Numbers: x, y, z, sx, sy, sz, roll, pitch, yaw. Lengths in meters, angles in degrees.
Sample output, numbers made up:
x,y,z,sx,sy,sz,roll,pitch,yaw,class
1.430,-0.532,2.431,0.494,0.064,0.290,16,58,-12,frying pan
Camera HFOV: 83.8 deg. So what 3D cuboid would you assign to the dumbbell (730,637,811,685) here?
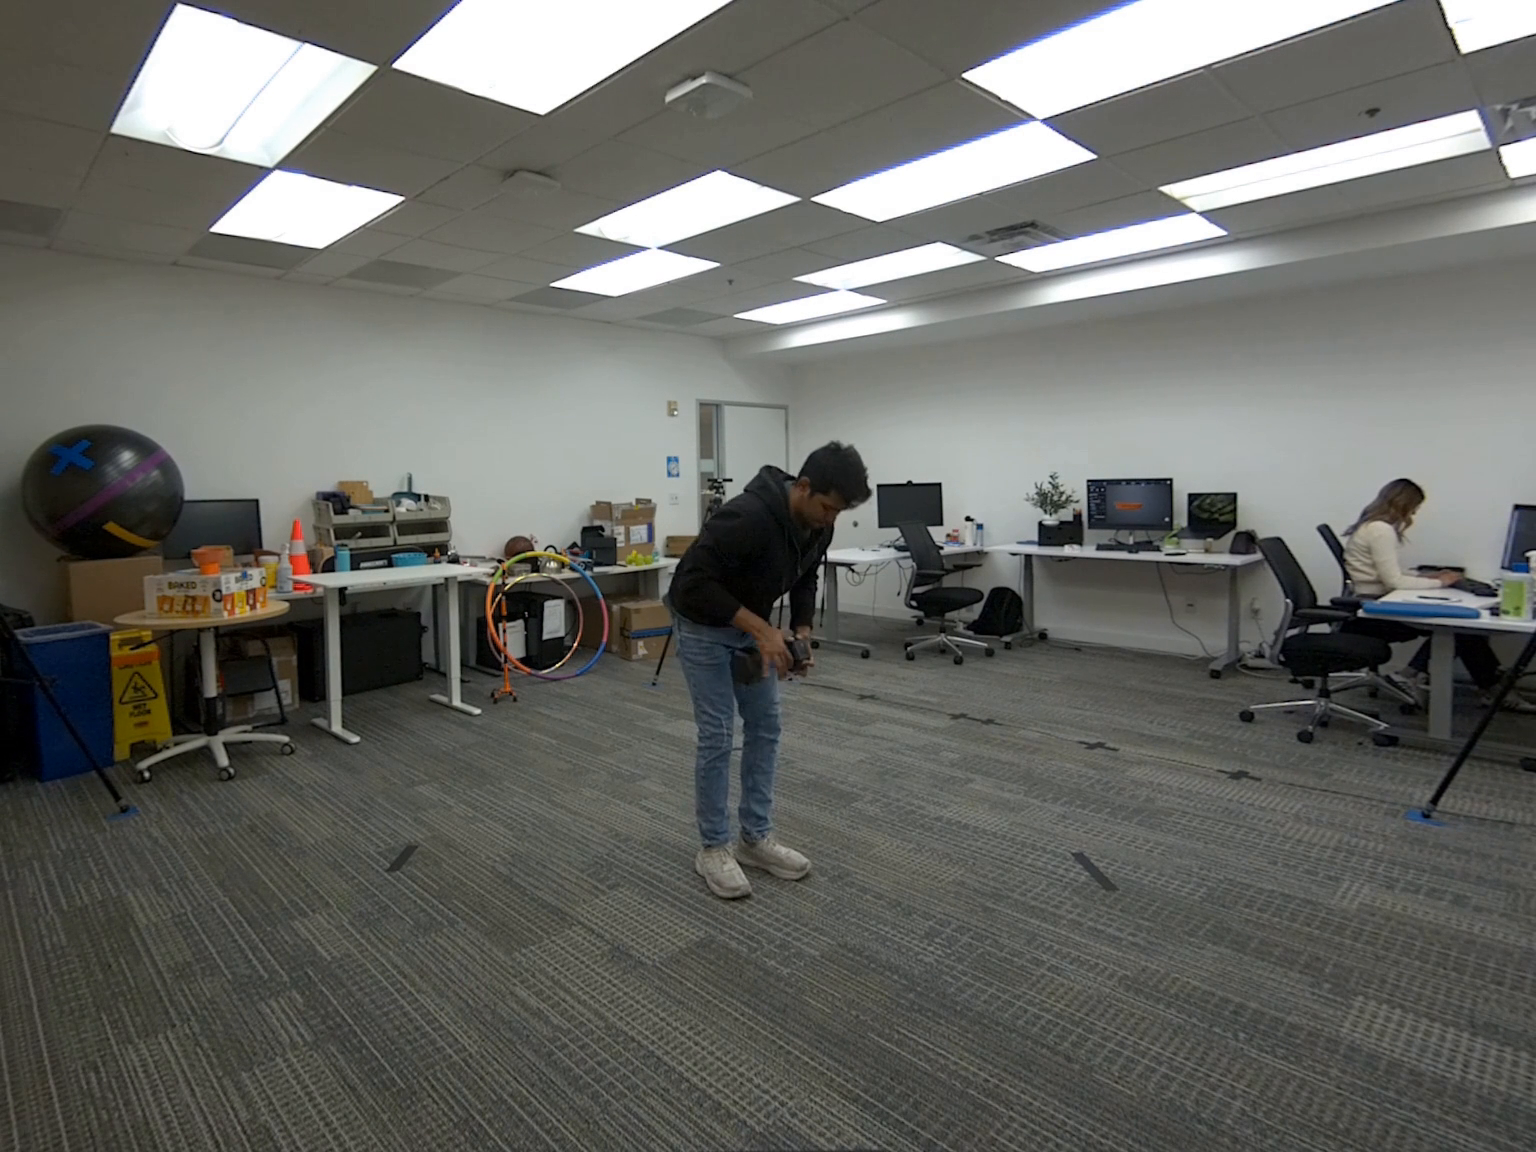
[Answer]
x,y,z,sx,sy,sz,roll,pitch,yaw,class
0.005,0.301,2.860,0.286,0.122,0.112,-9,45,-46,dumbbell
